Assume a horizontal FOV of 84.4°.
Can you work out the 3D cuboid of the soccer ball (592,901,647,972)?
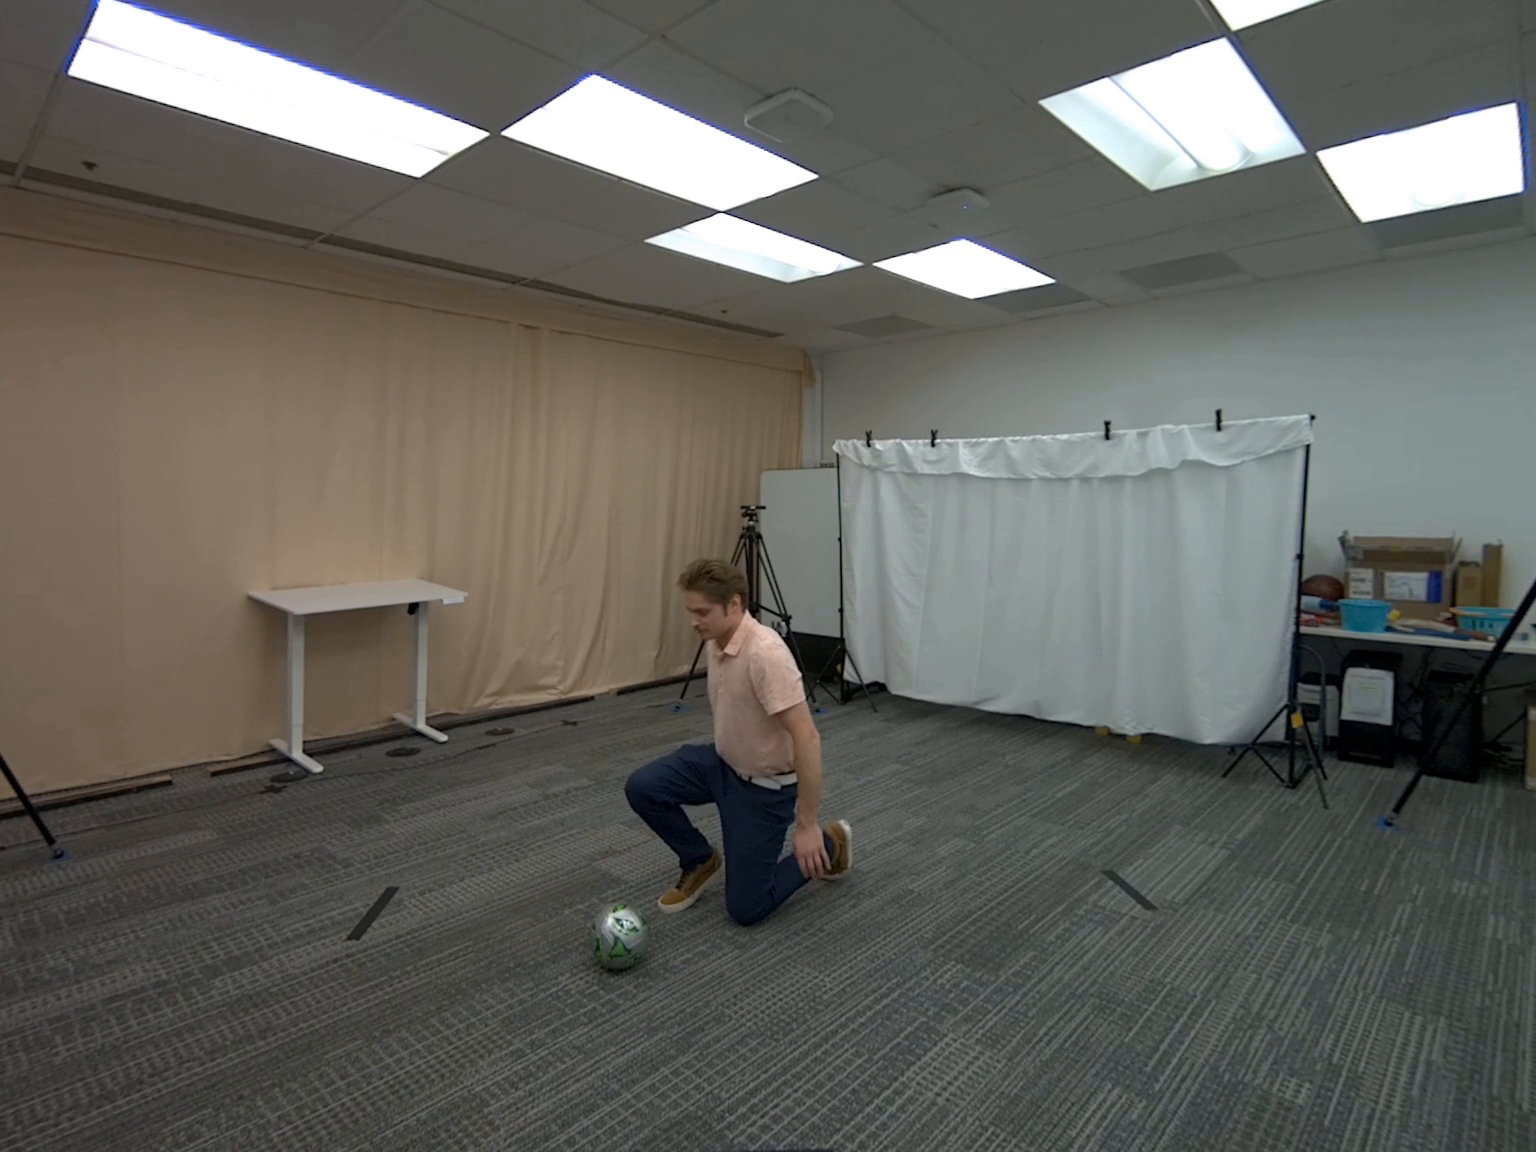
[{"bbox_3d":[-0.453,1.104,2.548,0.187,0.187,0.188,0,4,-2],"label":"soccer ball"}]
